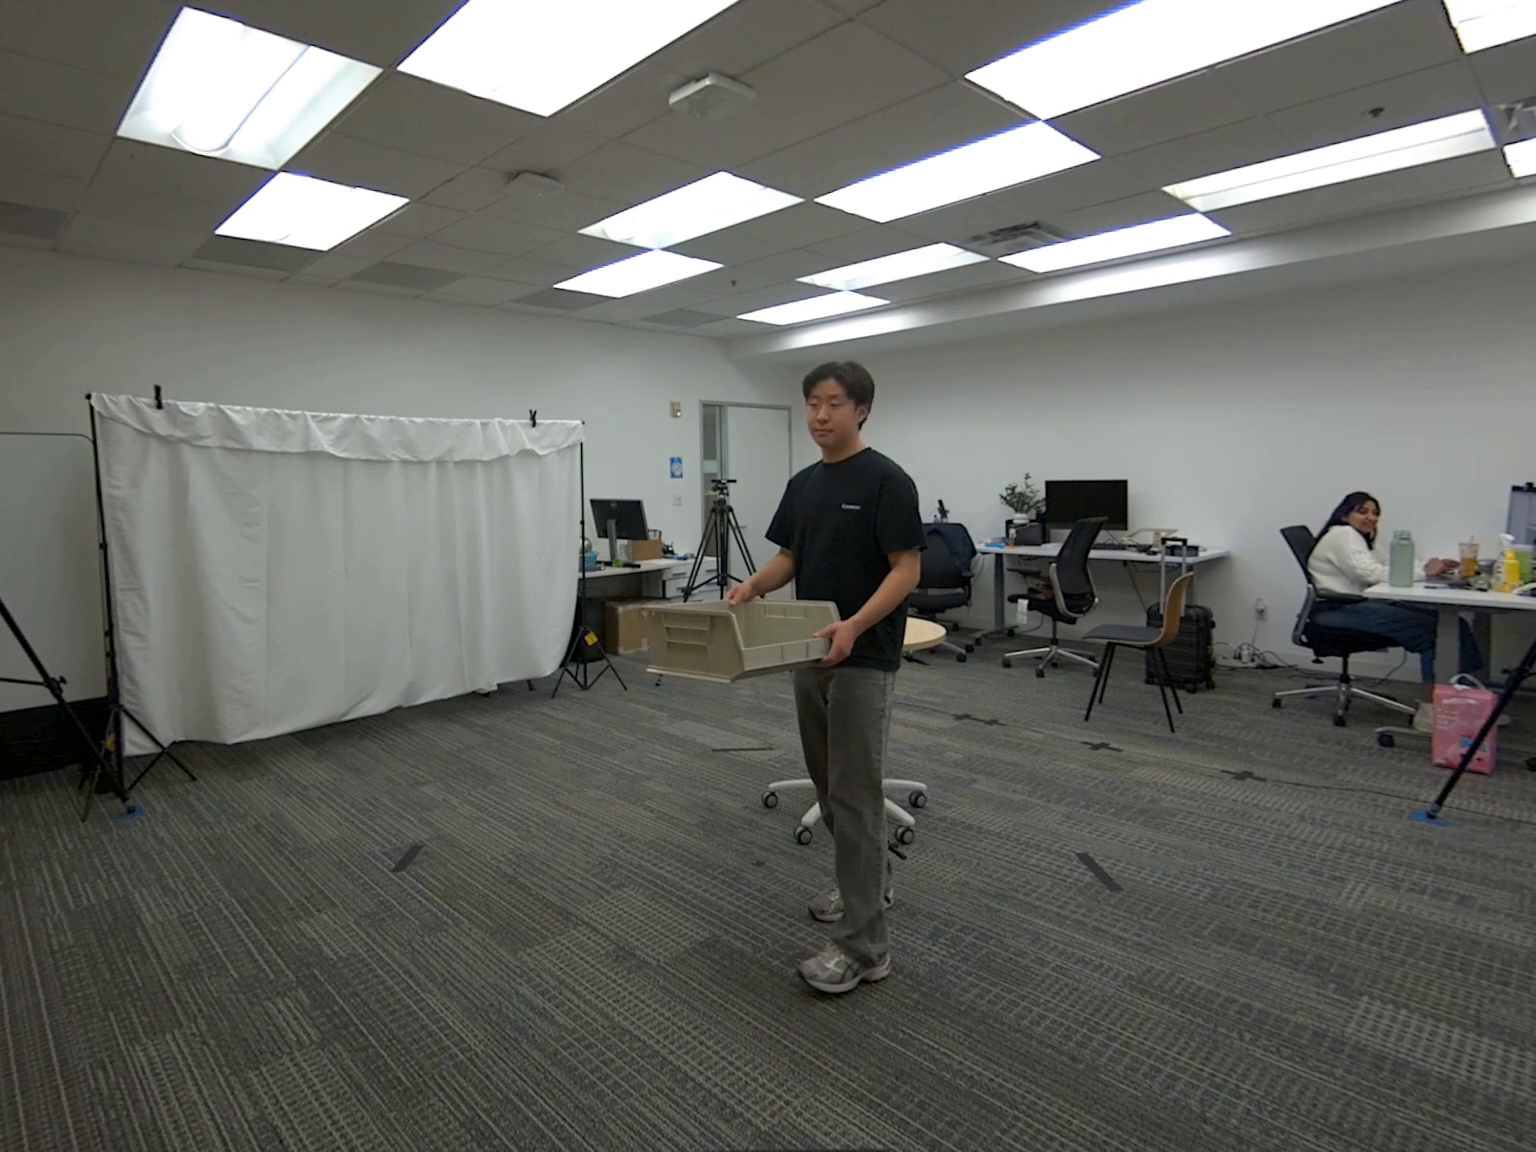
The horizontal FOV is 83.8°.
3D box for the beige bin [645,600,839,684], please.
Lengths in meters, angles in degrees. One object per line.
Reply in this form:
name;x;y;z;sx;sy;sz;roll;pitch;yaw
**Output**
beige bin;-0.061;0.172;2.338;0.388;0.189;0.411;-1;2;42
